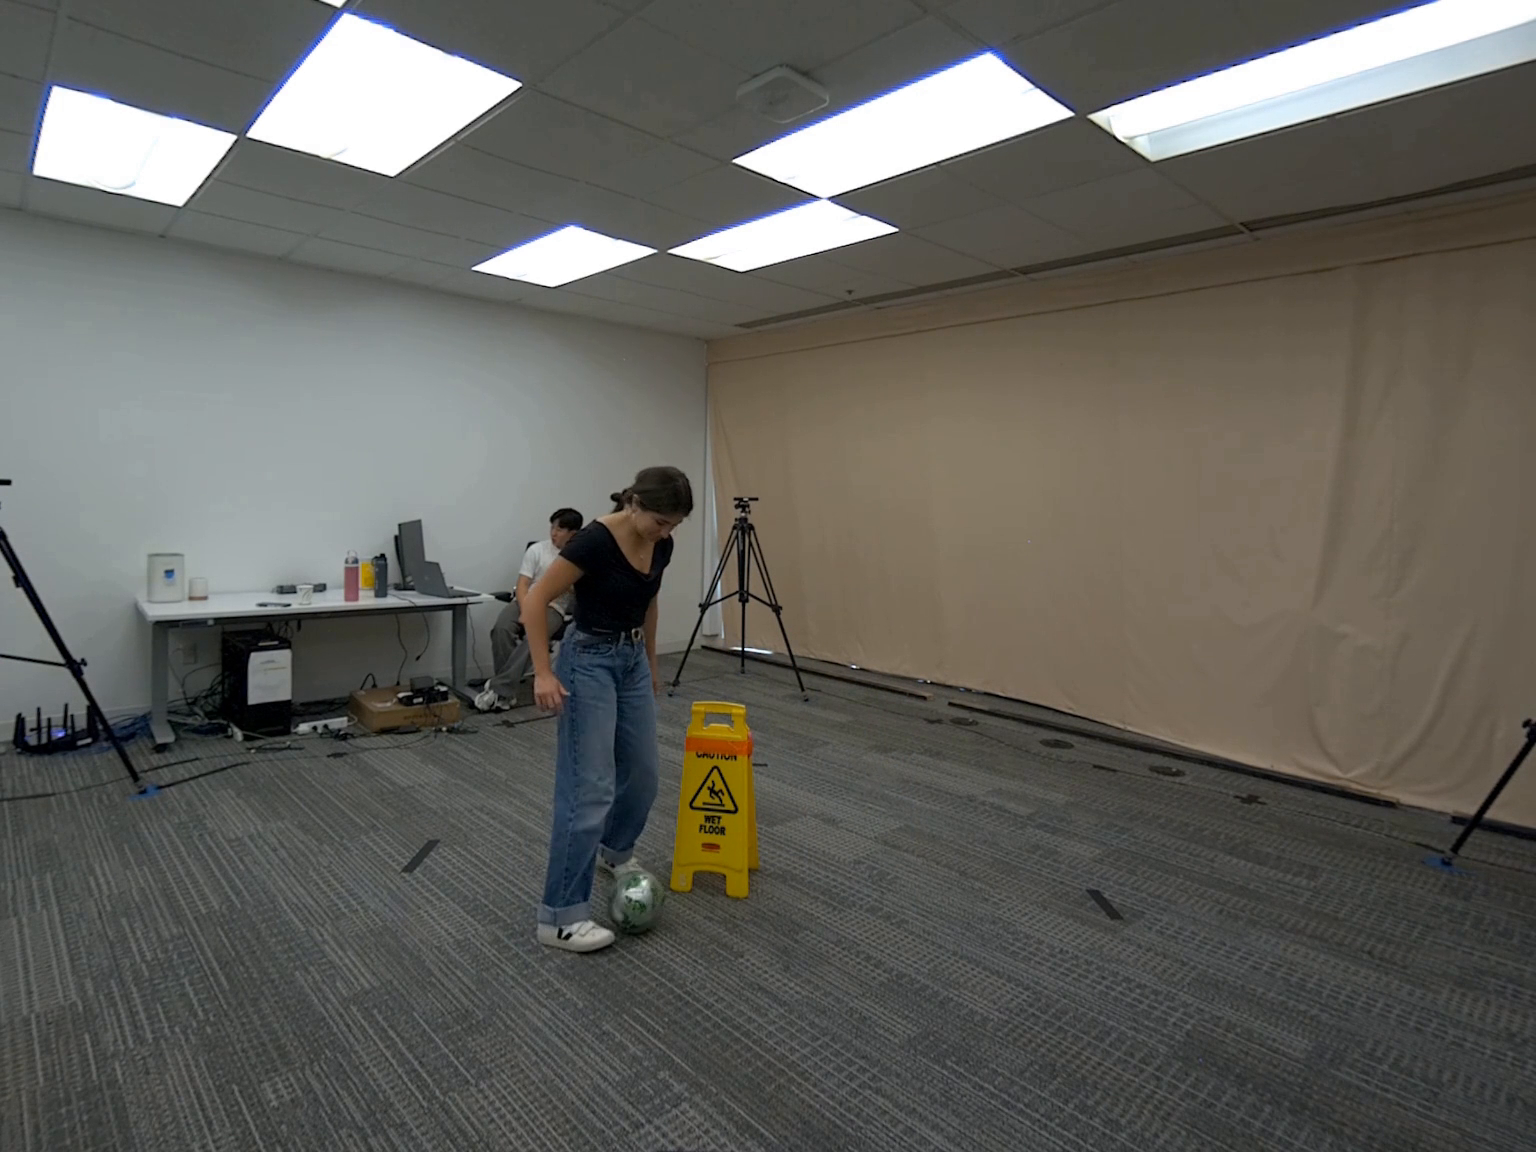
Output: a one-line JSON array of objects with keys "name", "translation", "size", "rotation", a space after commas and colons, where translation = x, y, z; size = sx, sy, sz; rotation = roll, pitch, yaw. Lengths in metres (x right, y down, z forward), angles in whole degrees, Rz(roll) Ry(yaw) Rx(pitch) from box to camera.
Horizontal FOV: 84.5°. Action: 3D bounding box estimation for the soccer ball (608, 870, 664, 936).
[{"name": "soccer ball", "translation": [-0.434, 1.048, 2.689], "size": [0.187, 0.187, 0.188], "rotation": [1, 4, -1]}]
